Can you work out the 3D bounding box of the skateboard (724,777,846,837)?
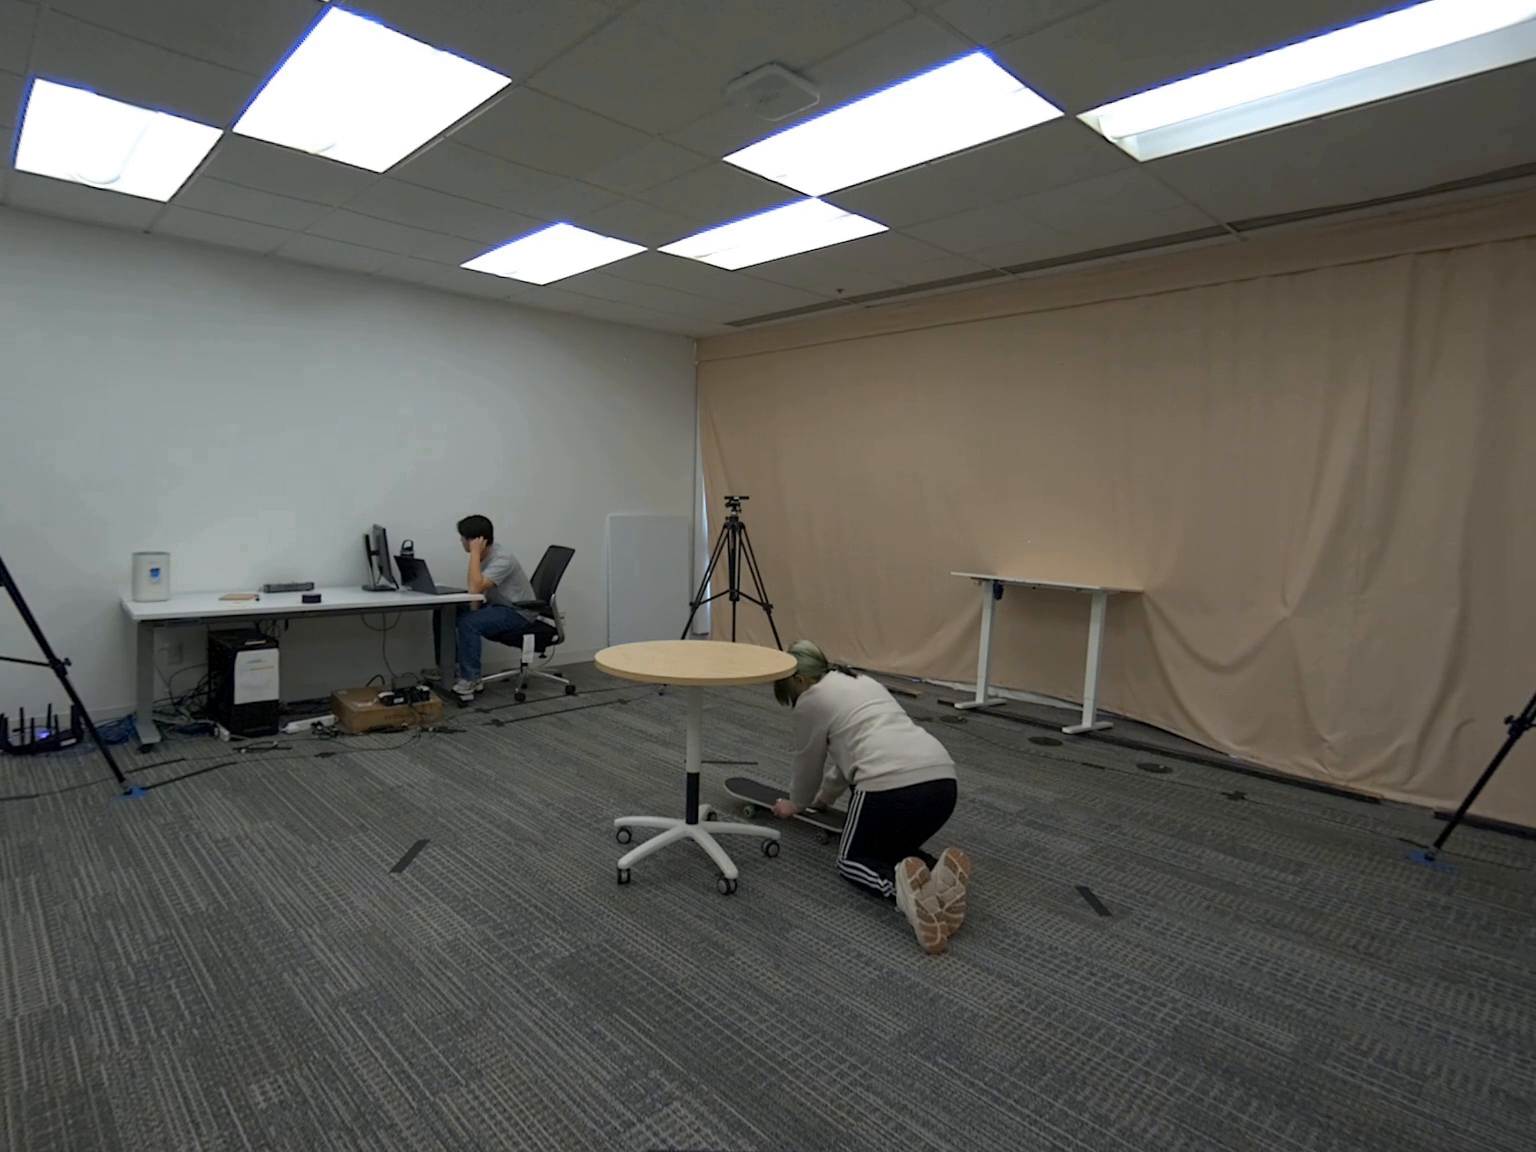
[{"bbox_3d":[0.111,1.012,3.602,0.806,0.110,0.189,7,6,42],"label":"skateboard"}]
